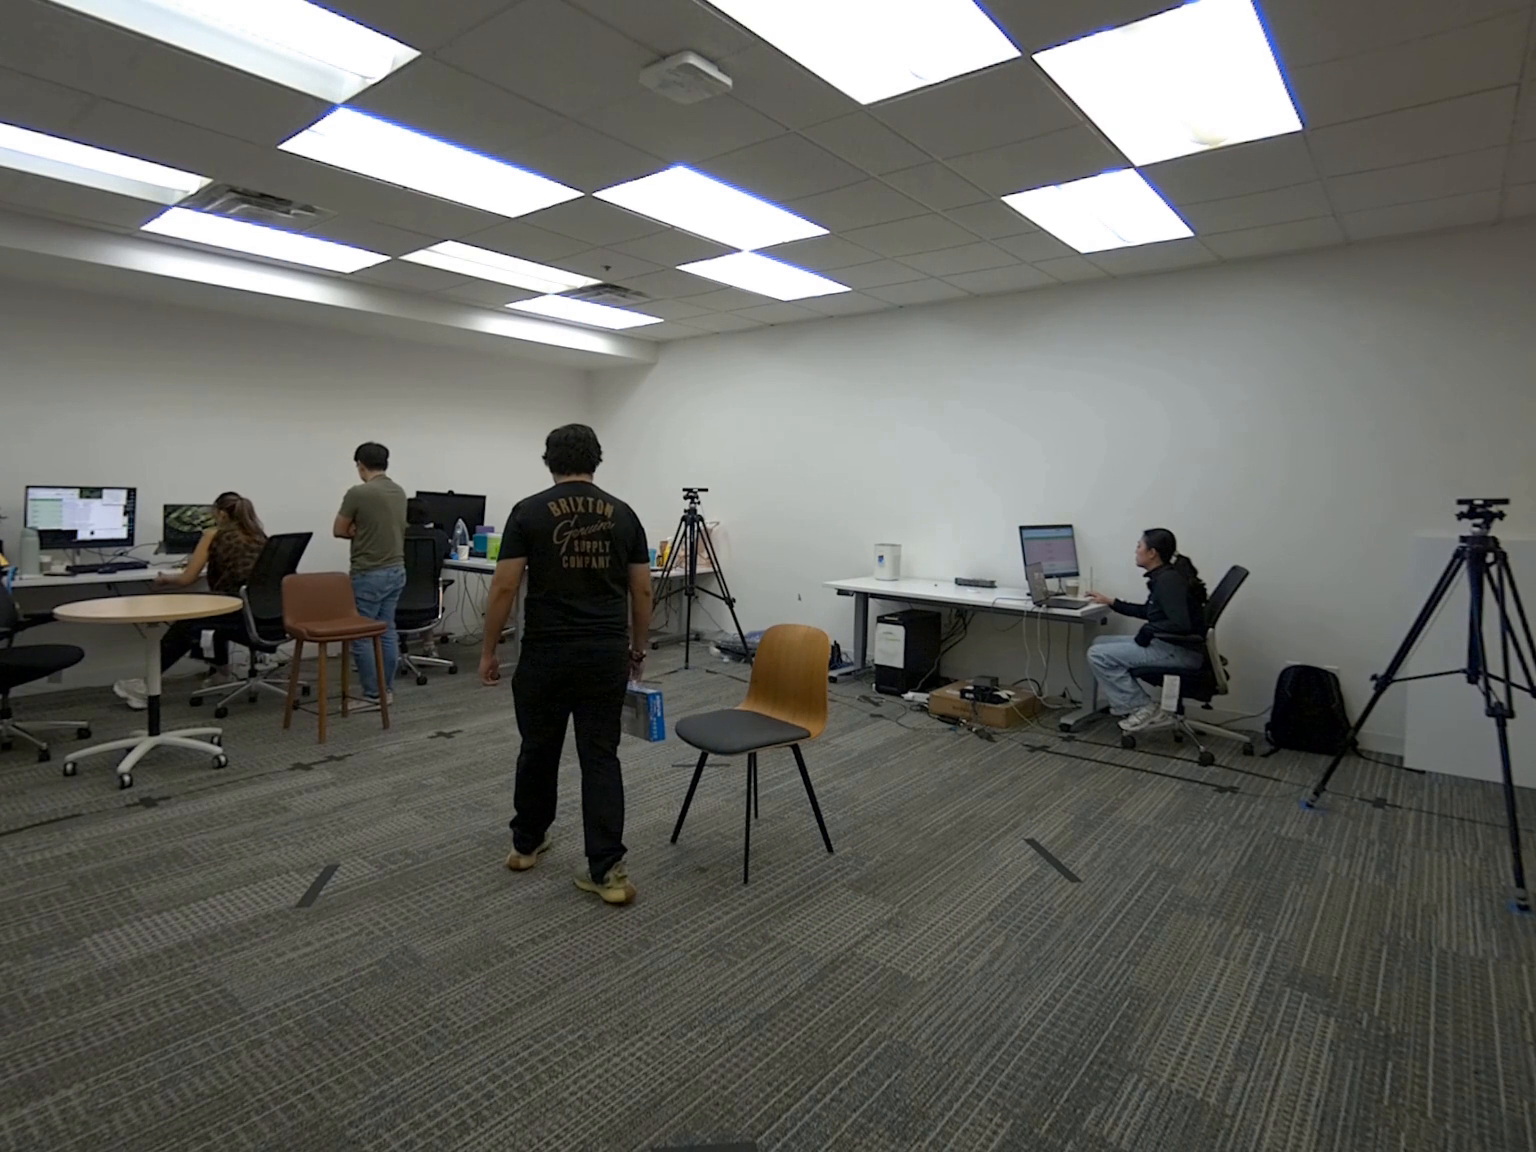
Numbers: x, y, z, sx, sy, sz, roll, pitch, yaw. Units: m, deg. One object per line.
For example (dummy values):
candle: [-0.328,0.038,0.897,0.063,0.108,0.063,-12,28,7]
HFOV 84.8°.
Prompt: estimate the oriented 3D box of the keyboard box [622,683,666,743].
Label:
keyboard box: [-0.518,0.496,3.189,0.057,0.176,0.447,-3,0,-30]
